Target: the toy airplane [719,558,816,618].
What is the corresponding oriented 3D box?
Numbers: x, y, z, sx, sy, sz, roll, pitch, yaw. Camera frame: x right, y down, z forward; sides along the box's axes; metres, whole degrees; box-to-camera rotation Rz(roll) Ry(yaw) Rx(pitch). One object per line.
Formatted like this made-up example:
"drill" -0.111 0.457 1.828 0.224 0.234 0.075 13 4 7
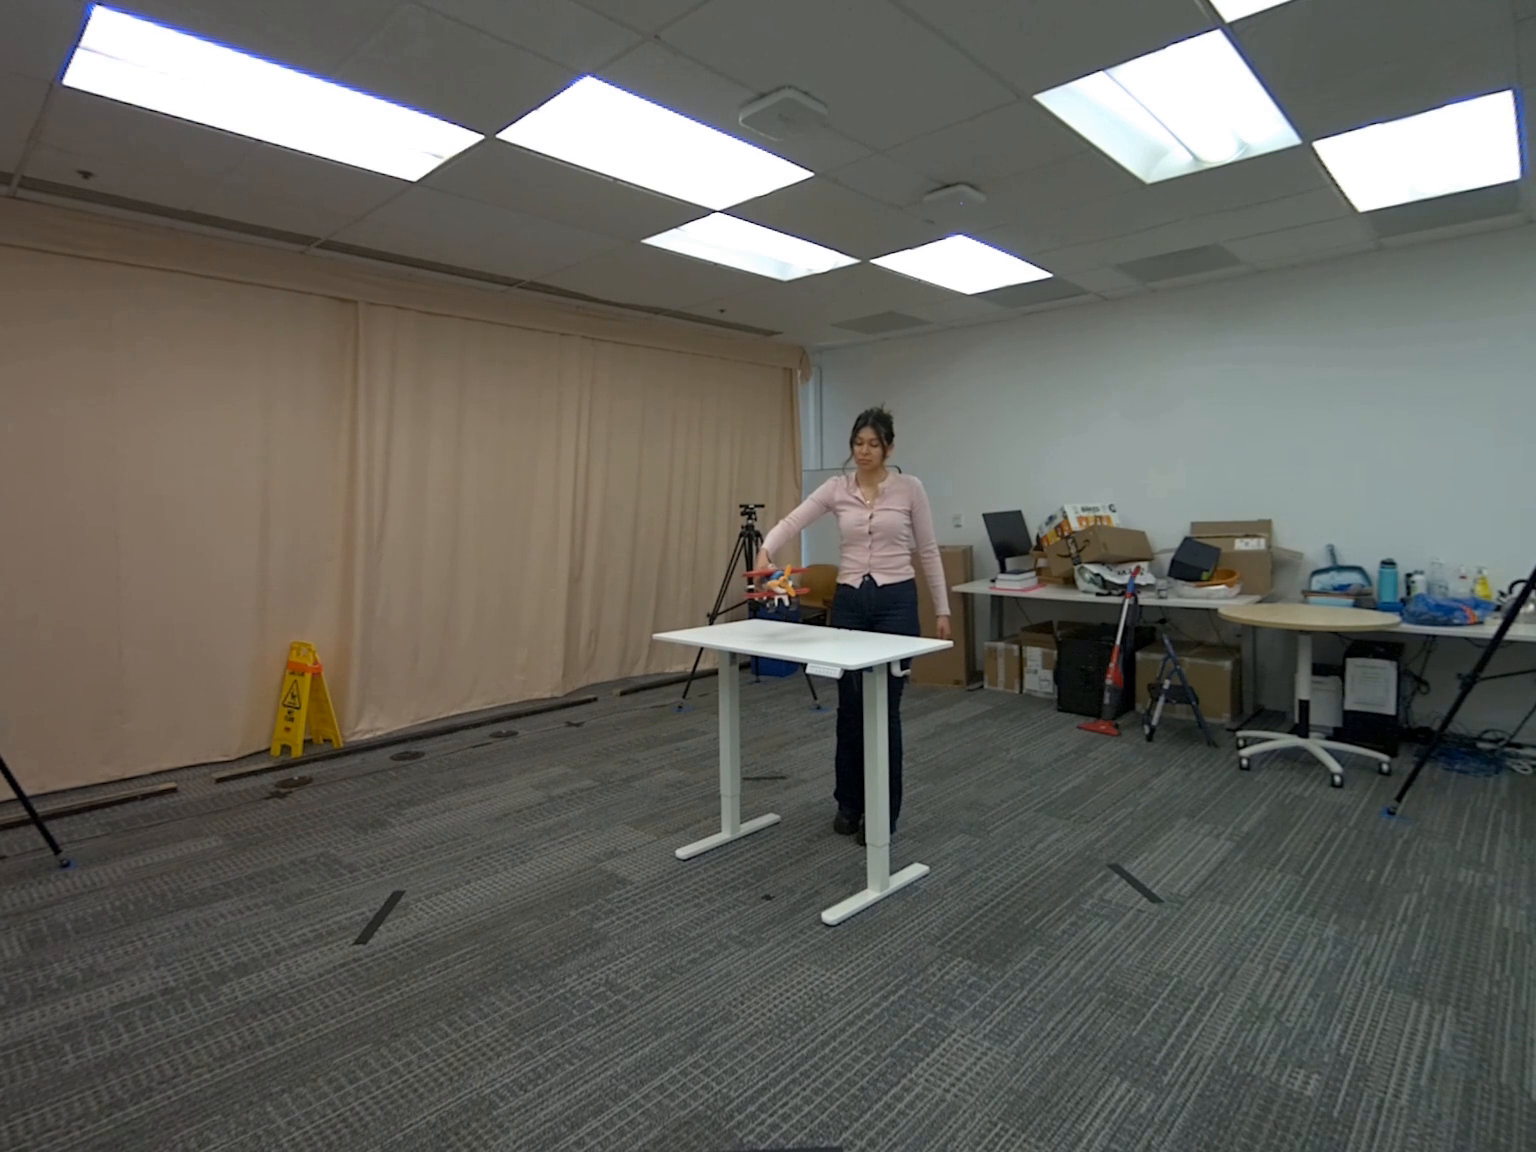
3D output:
"toy airplane" -0.004 0.036 3.185 0.268 0.155 0.244 10 14 42
